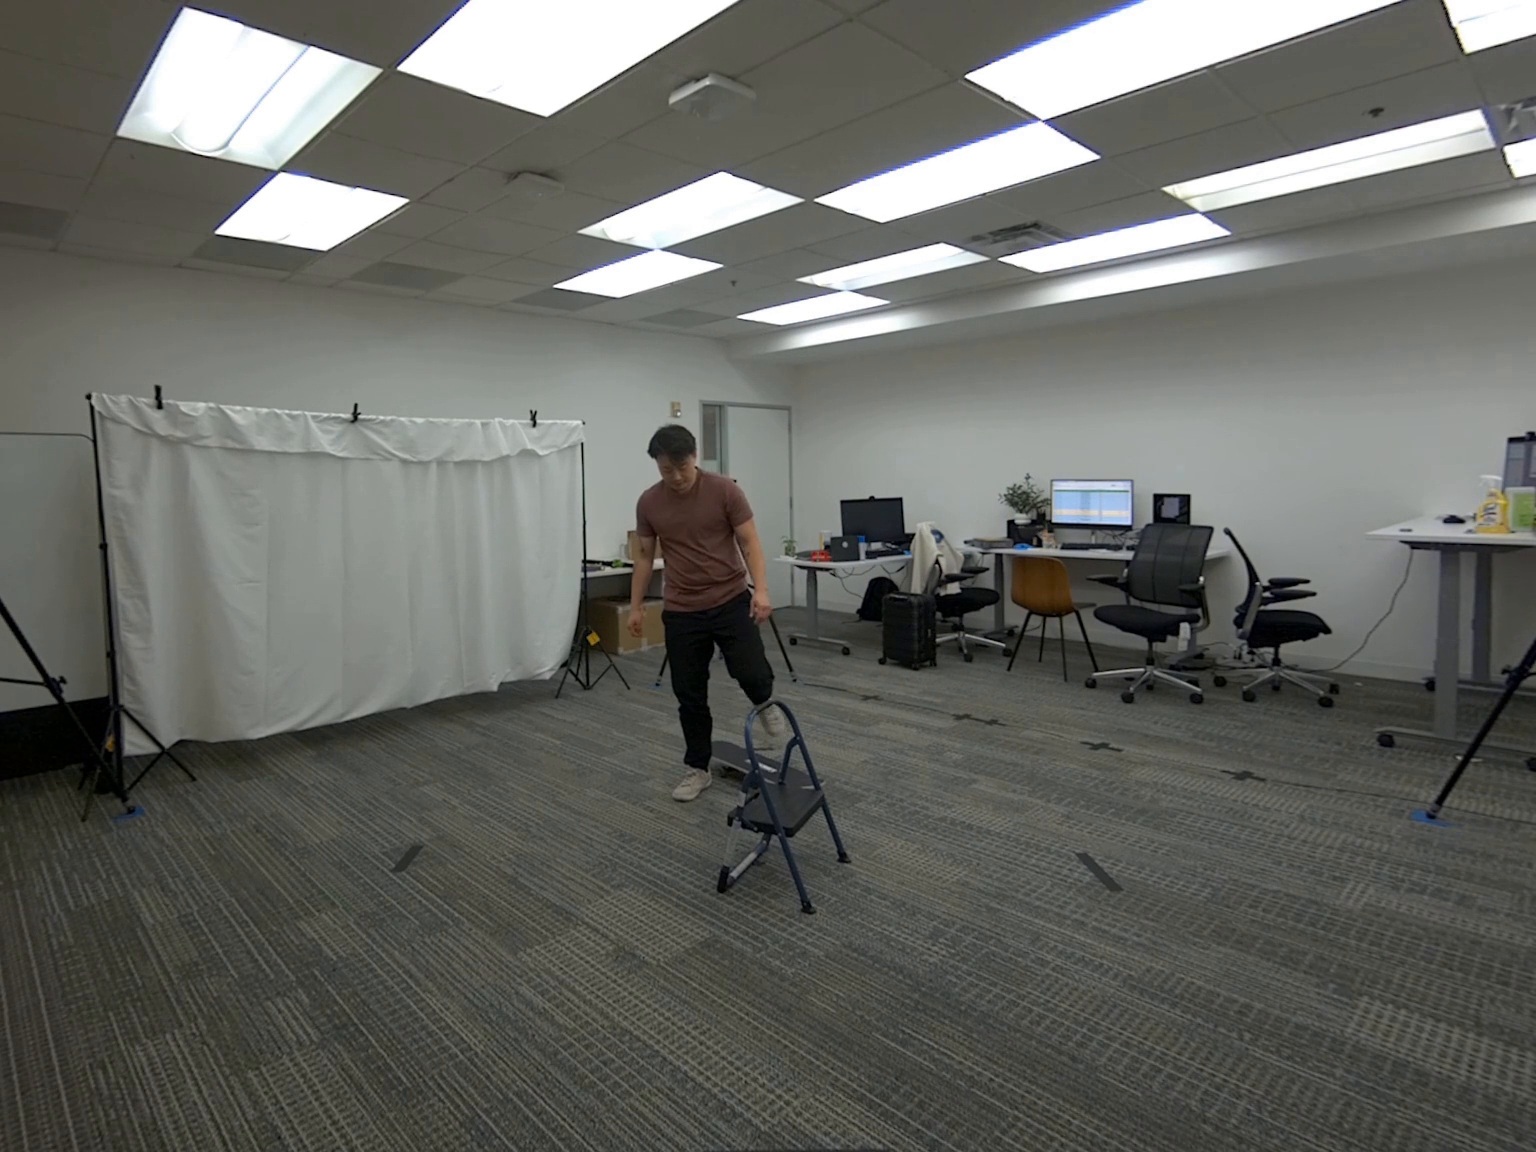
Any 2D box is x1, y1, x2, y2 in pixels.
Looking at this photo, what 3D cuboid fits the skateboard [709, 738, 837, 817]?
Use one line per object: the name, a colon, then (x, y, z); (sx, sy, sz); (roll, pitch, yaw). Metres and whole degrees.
skateboard: (-0.027, 0.902, 3.916); (0.188, 0.110, 0.809); (-5, 7, -36)
